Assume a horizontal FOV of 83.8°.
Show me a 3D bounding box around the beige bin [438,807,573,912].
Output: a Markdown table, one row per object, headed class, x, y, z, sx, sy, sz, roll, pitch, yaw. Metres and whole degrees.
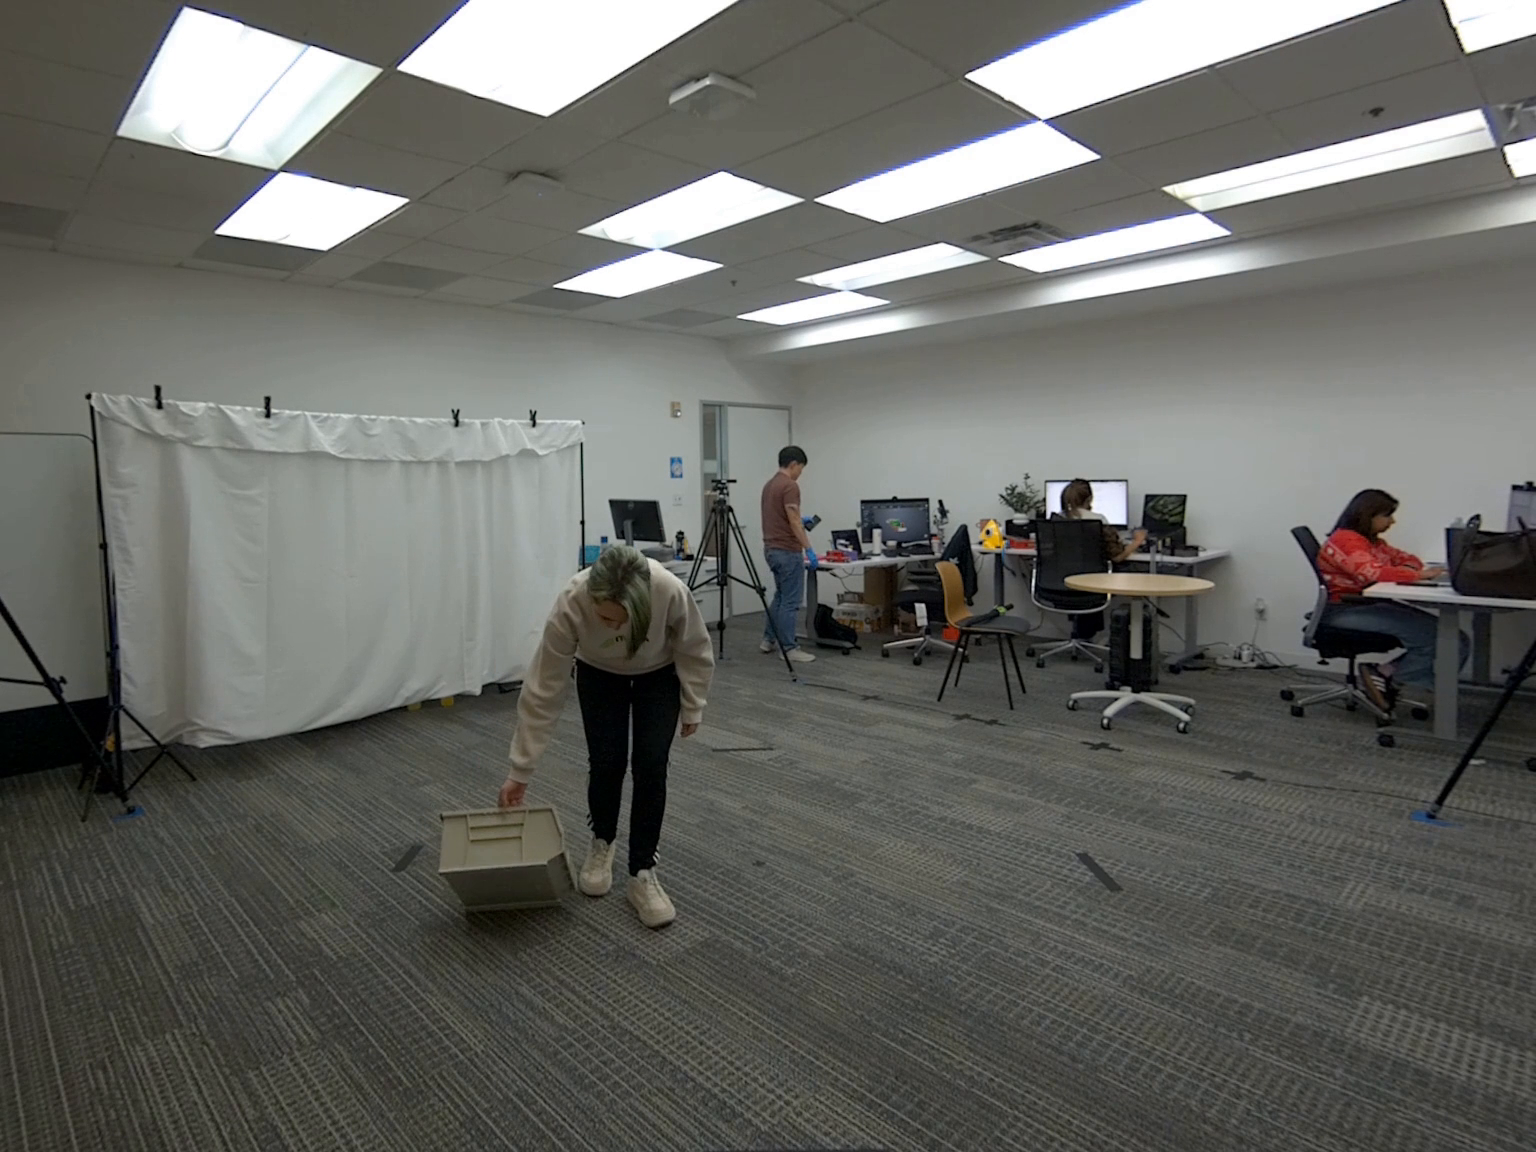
| class | x | y | z | sx | sy | sz | roll | pitch | yaw |
| --- | --- | --- | --- | --- | --- | --- | --- | --- | --- |
| beige bin | -0.819 | 0.909 | 2.709 | 0.375 | 0.194 | 0.412 | -2 | -36 | -6 |
